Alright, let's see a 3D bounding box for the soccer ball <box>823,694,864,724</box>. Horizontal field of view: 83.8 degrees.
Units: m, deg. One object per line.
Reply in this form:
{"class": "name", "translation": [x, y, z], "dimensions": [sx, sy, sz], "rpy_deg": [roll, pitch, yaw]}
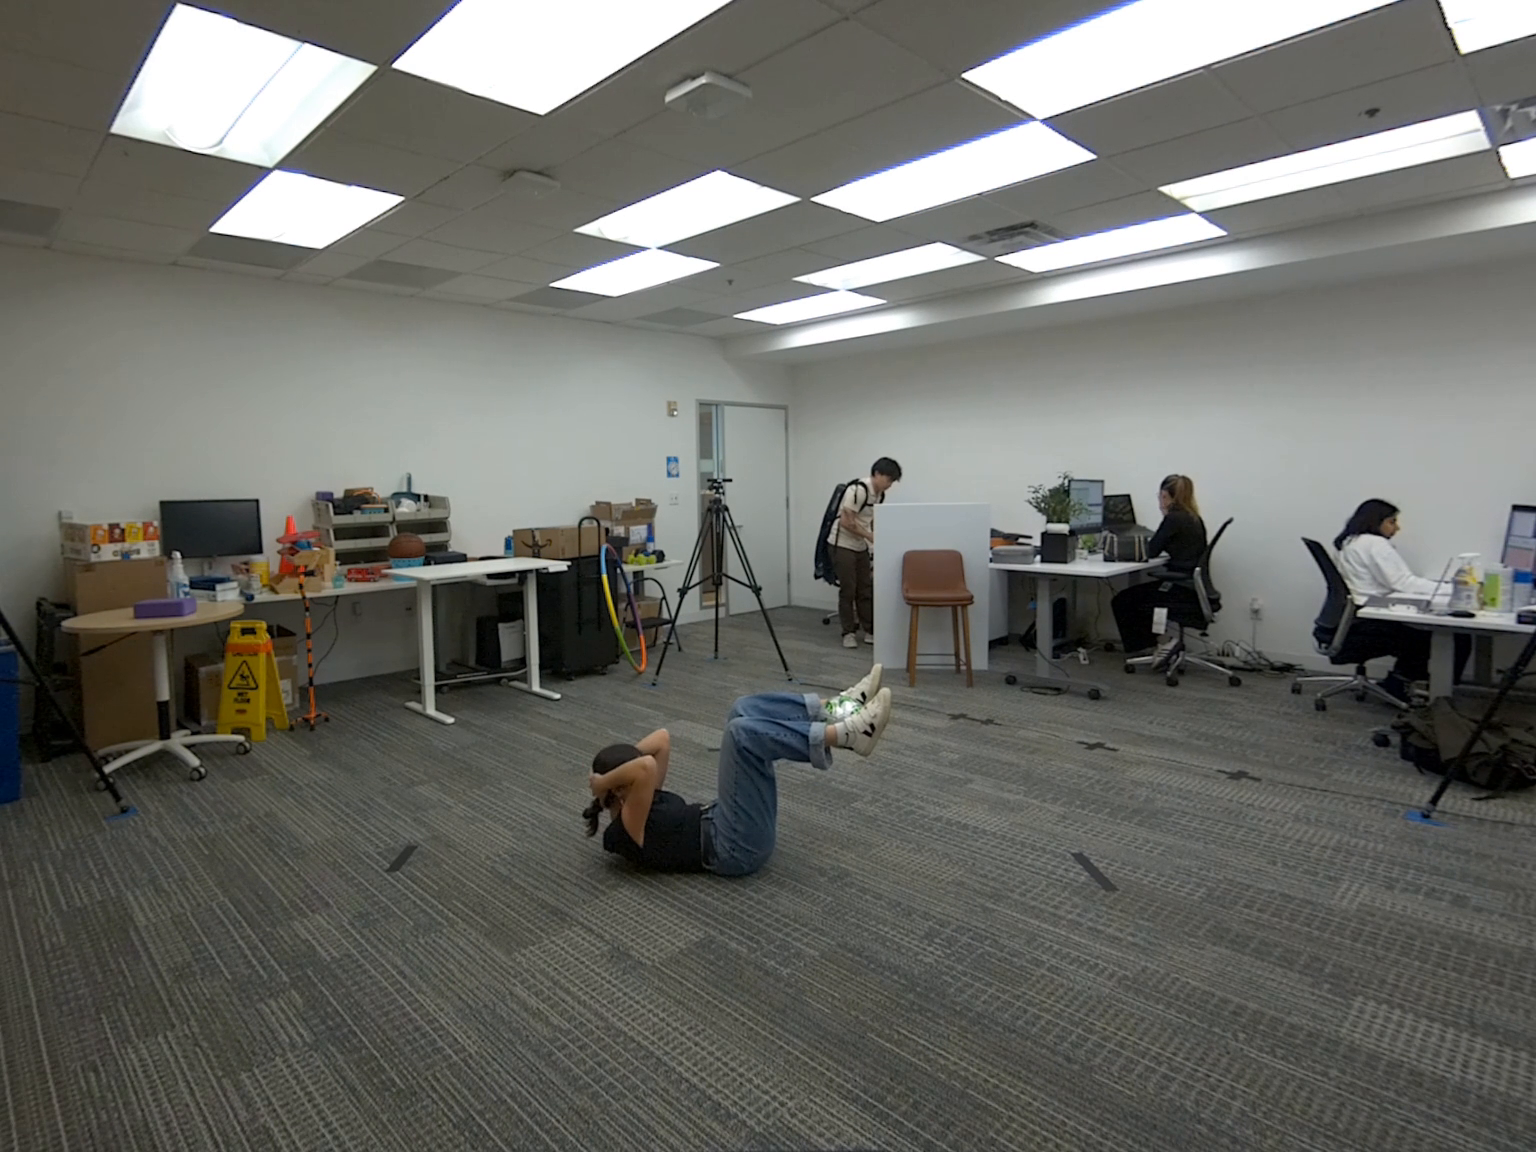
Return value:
{"class": "soccer ball", "translation": [0.280, 0.529, 3.071], "dimensions": [0.187, 0.187, 0.188], "rpy_deg": [0, 1, -2]}
